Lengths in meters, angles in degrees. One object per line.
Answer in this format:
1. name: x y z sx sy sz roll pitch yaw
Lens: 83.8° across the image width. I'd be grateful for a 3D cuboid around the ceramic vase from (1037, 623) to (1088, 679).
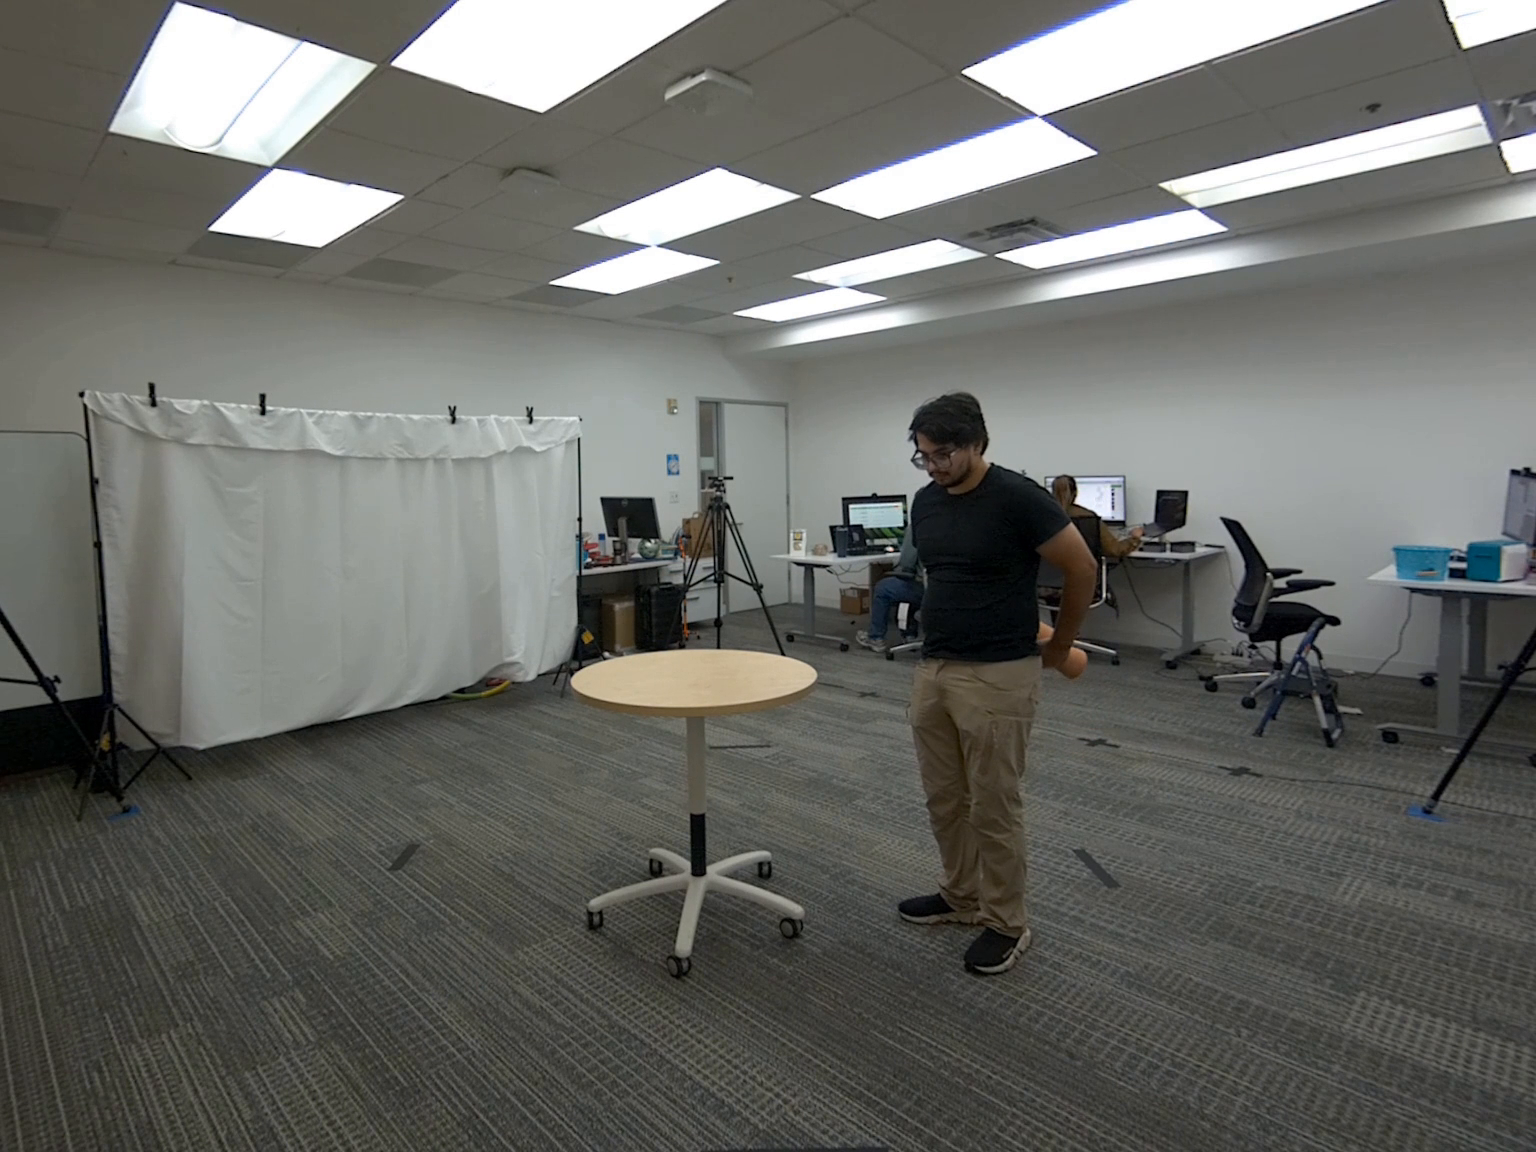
1. ceramic vase: 0.872 0.227 2.643 0.217 0.161 0.134 27 -39 -9
